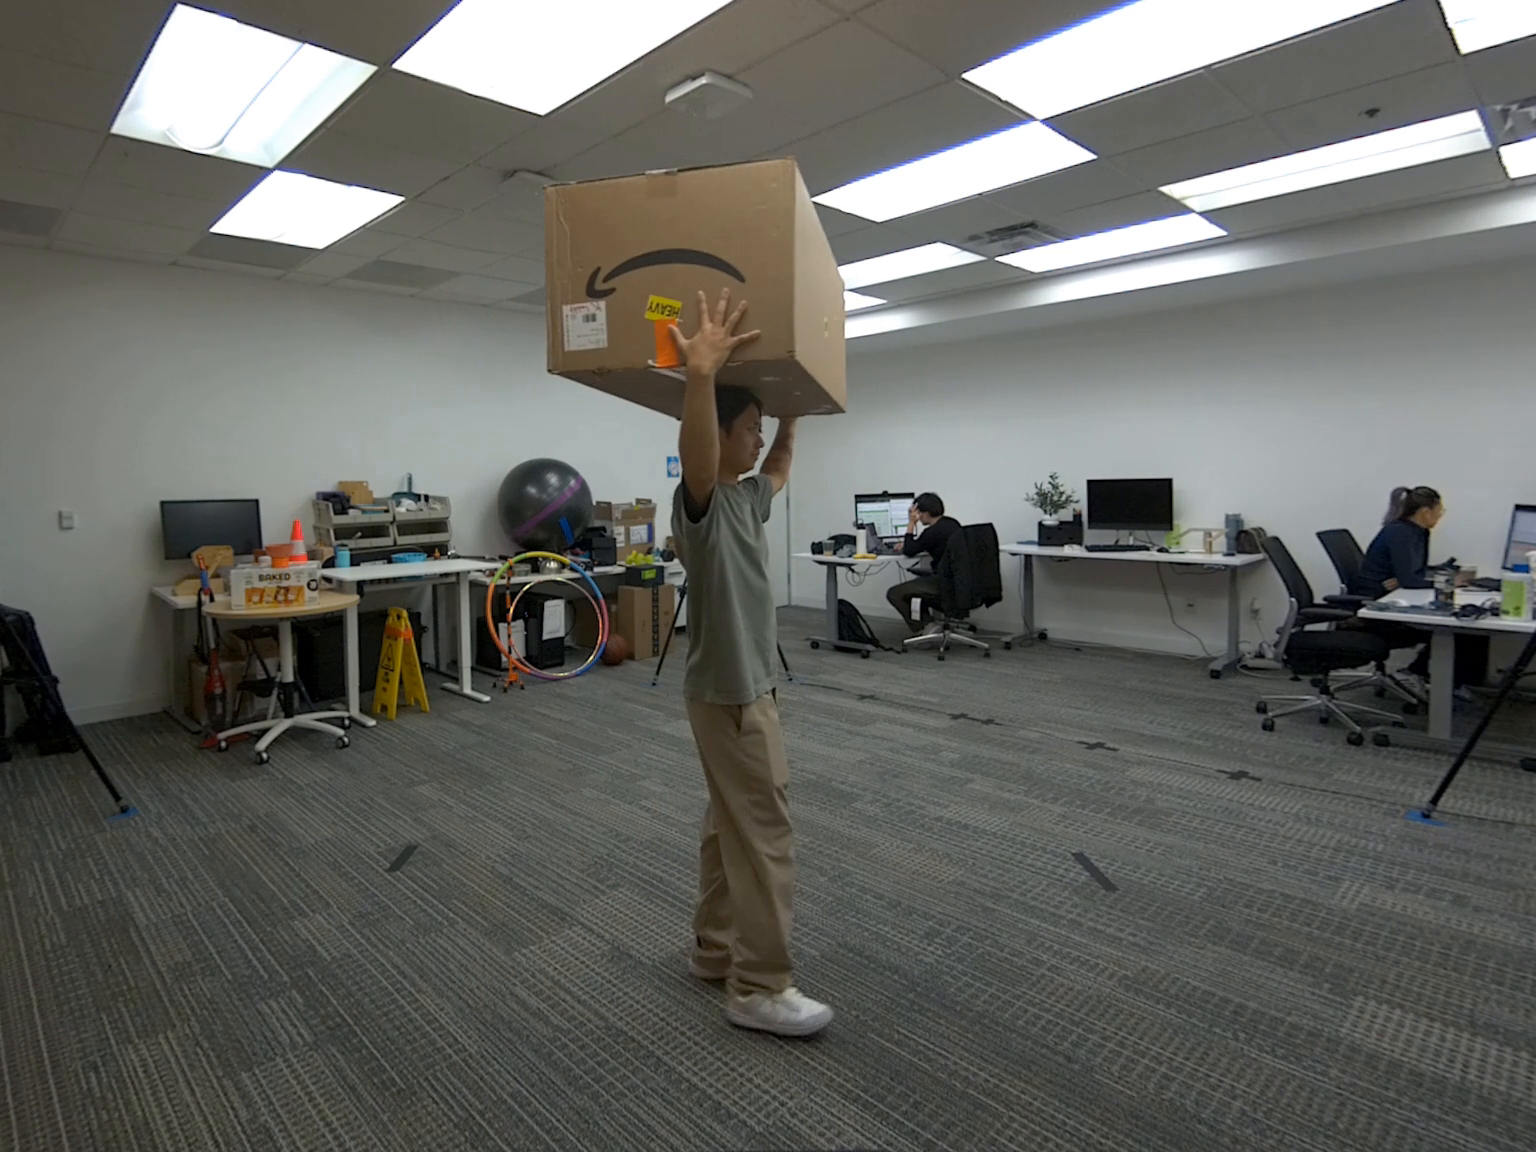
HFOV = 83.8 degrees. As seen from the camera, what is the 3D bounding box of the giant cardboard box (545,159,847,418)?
[{"bbox_3d":[-0.123,-0.702,2.346,0.585,0.425,1.015,0,4,12],"label":"giant cardboard box"}]
